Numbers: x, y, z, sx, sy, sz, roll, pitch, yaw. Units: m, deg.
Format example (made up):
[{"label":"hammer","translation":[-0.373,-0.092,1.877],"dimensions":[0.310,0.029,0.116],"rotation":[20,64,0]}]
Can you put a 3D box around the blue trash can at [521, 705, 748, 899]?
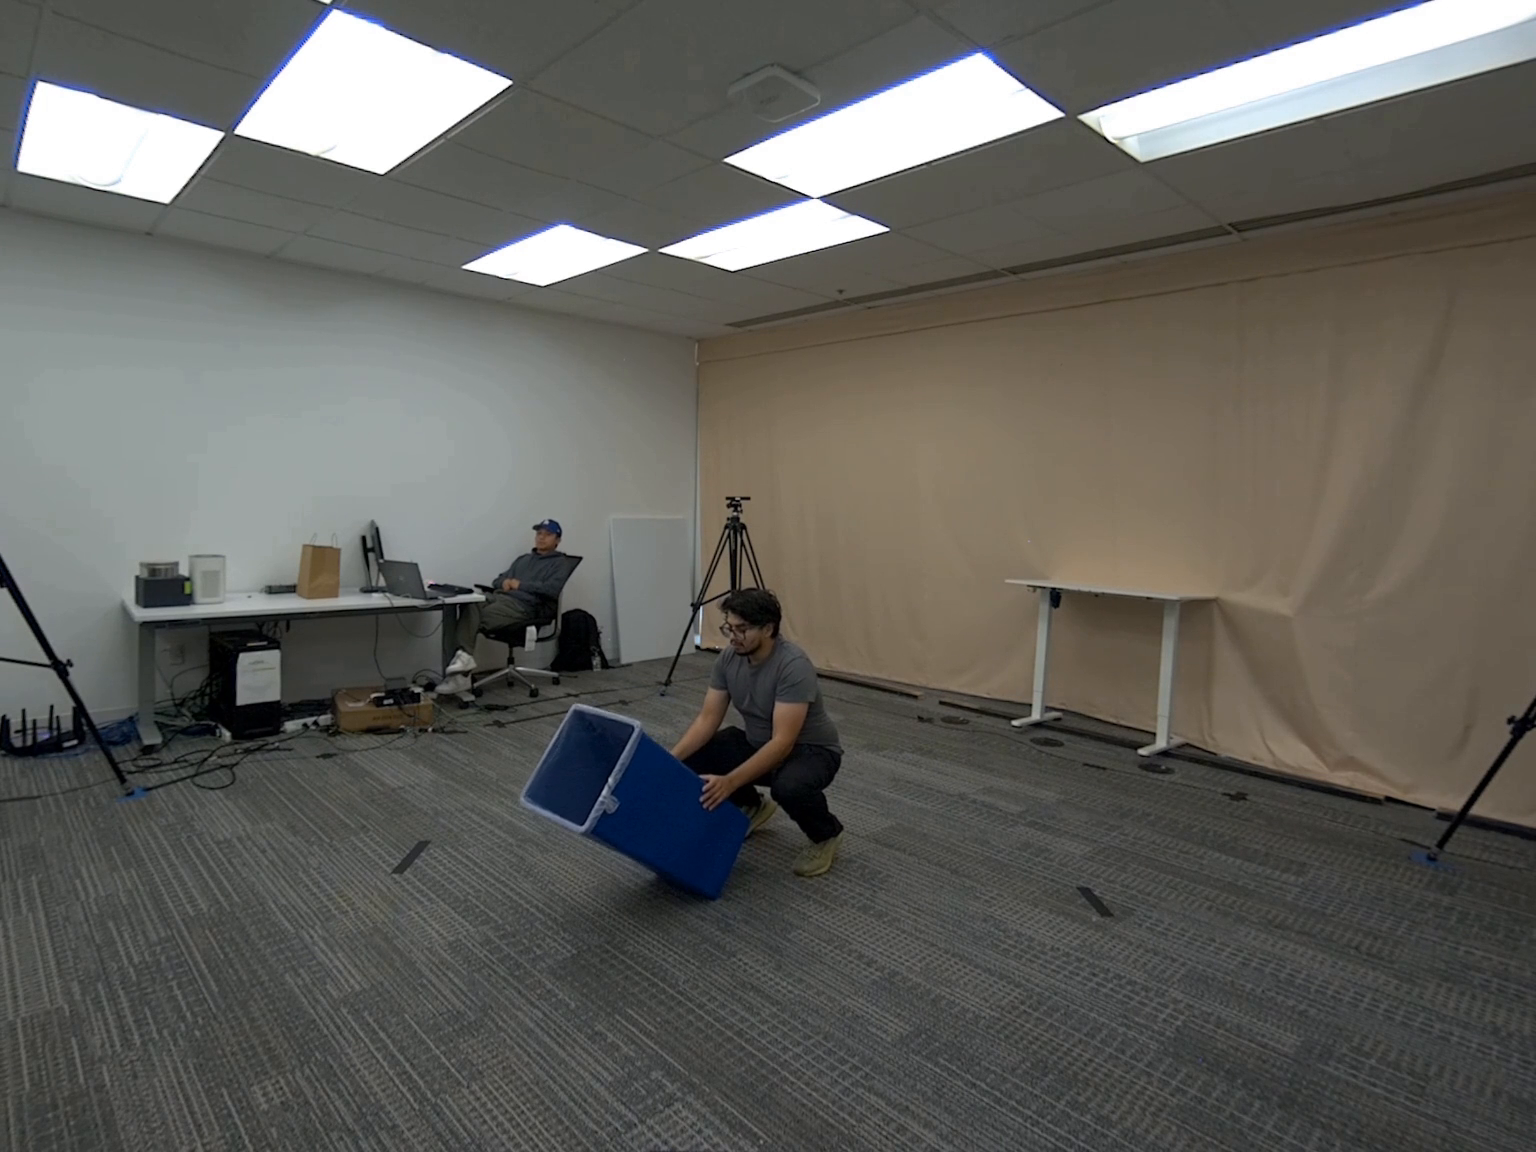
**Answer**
[{"label":"blue trash can","translation":[-0.428,0.792,2.850],"dimensions":[0.383,0.380,0.691],"rotation":[5,-32,42]}]
